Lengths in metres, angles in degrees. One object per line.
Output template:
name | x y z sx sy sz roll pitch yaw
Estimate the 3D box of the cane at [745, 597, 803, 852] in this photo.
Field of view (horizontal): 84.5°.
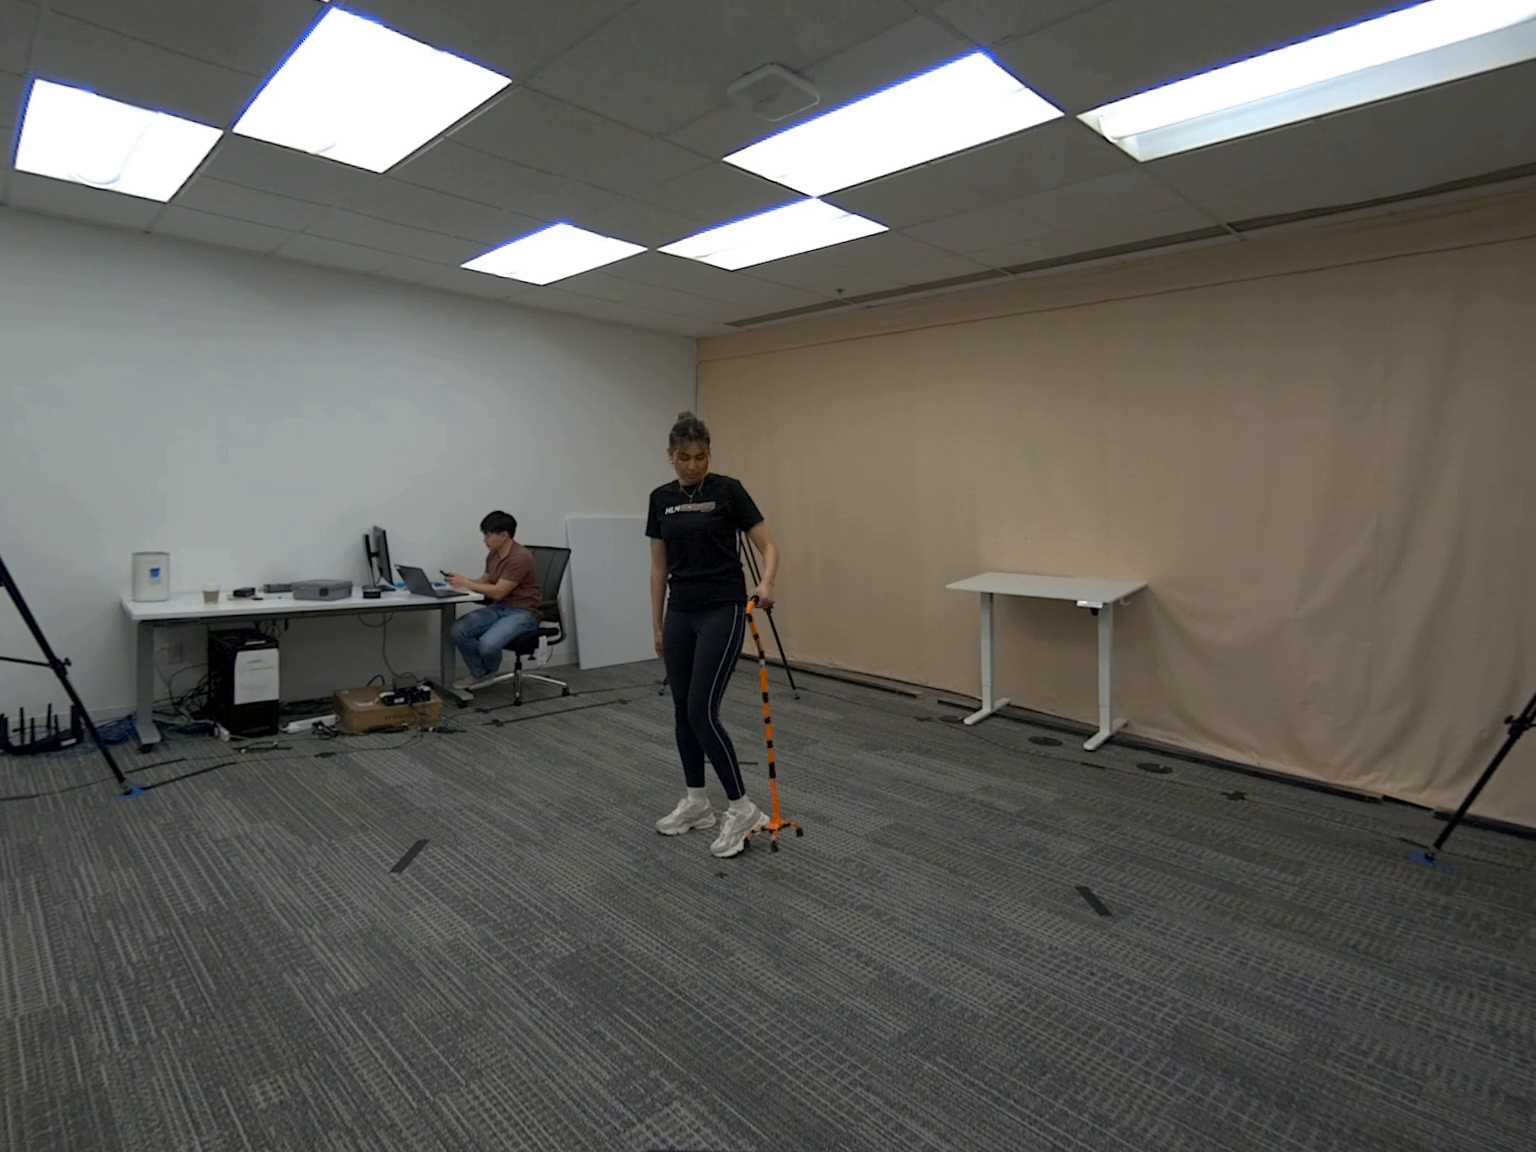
cane | -0.026 0.536 3.132 0.155 0.909 0.202 -6 -3 43
